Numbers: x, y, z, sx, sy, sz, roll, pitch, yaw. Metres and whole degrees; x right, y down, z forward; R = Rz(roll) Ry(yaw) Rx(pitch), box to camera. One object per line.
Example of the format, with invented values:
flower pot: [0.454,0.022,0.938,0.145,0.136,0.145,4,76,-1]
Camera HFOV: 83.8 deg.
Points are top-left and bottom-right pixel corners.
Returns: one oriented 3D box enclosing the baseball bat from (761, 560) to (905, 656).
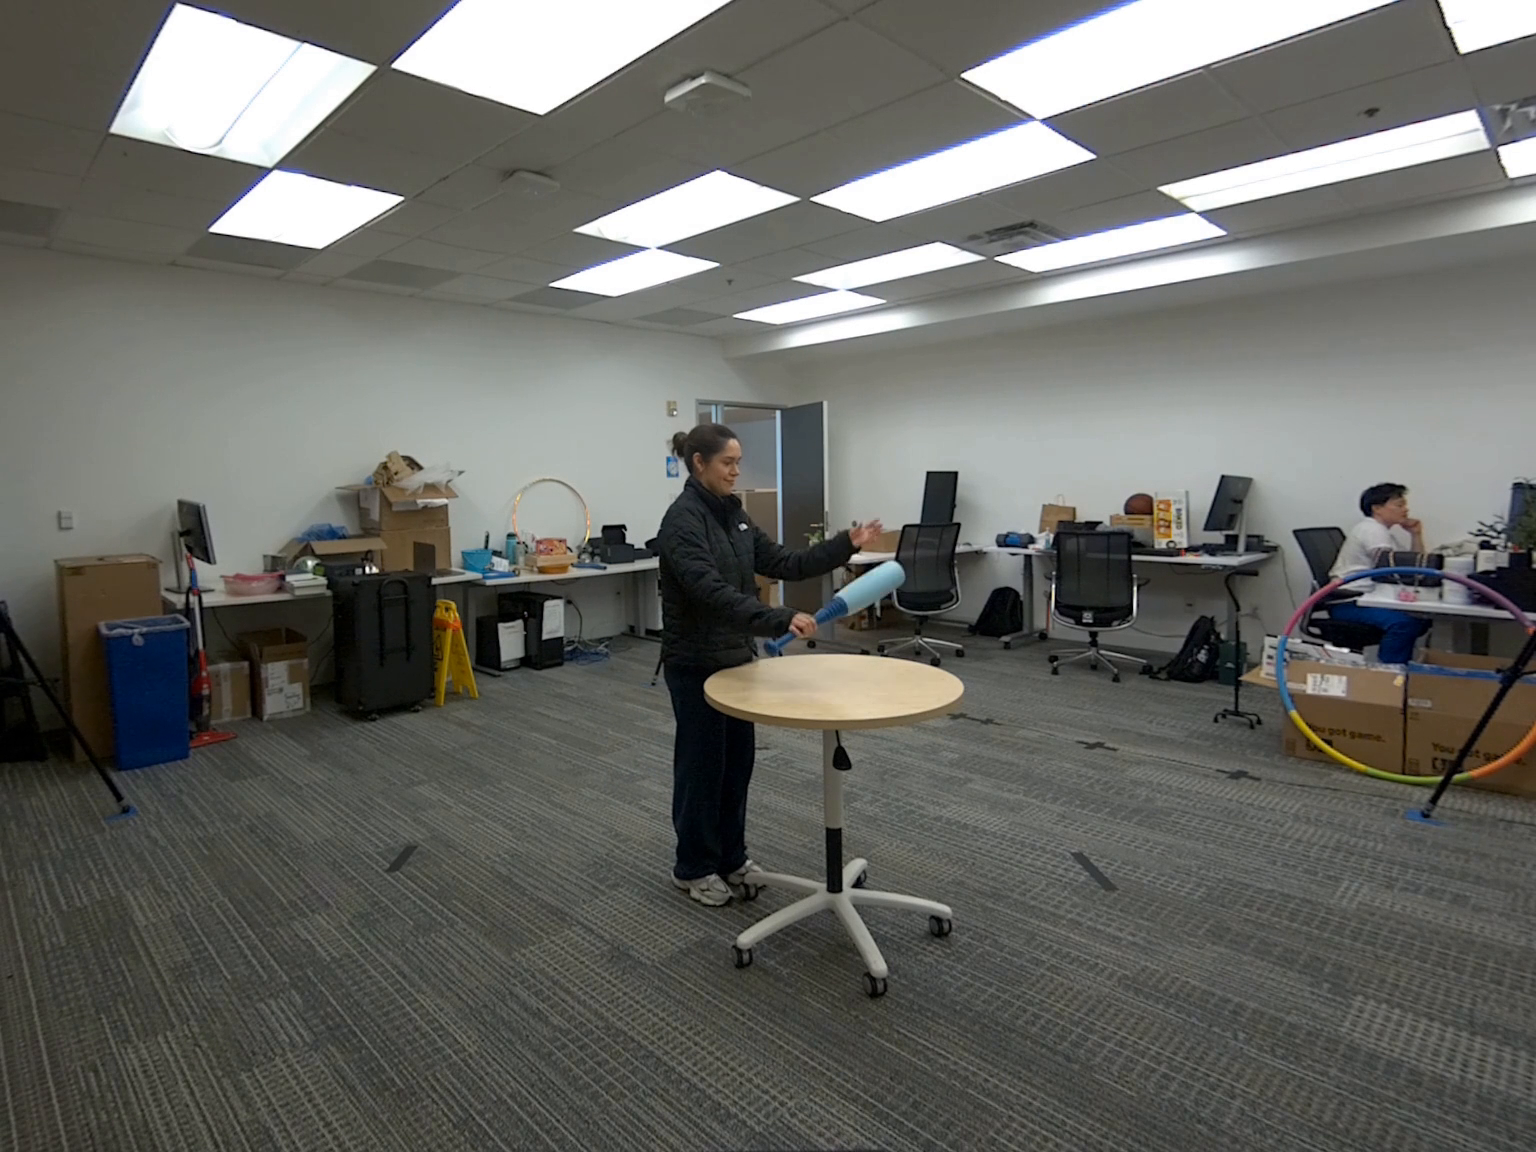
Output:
baseball bat: [0.189,0.096,2.541,0.537,0.087,0.091,-29,19,-29]
